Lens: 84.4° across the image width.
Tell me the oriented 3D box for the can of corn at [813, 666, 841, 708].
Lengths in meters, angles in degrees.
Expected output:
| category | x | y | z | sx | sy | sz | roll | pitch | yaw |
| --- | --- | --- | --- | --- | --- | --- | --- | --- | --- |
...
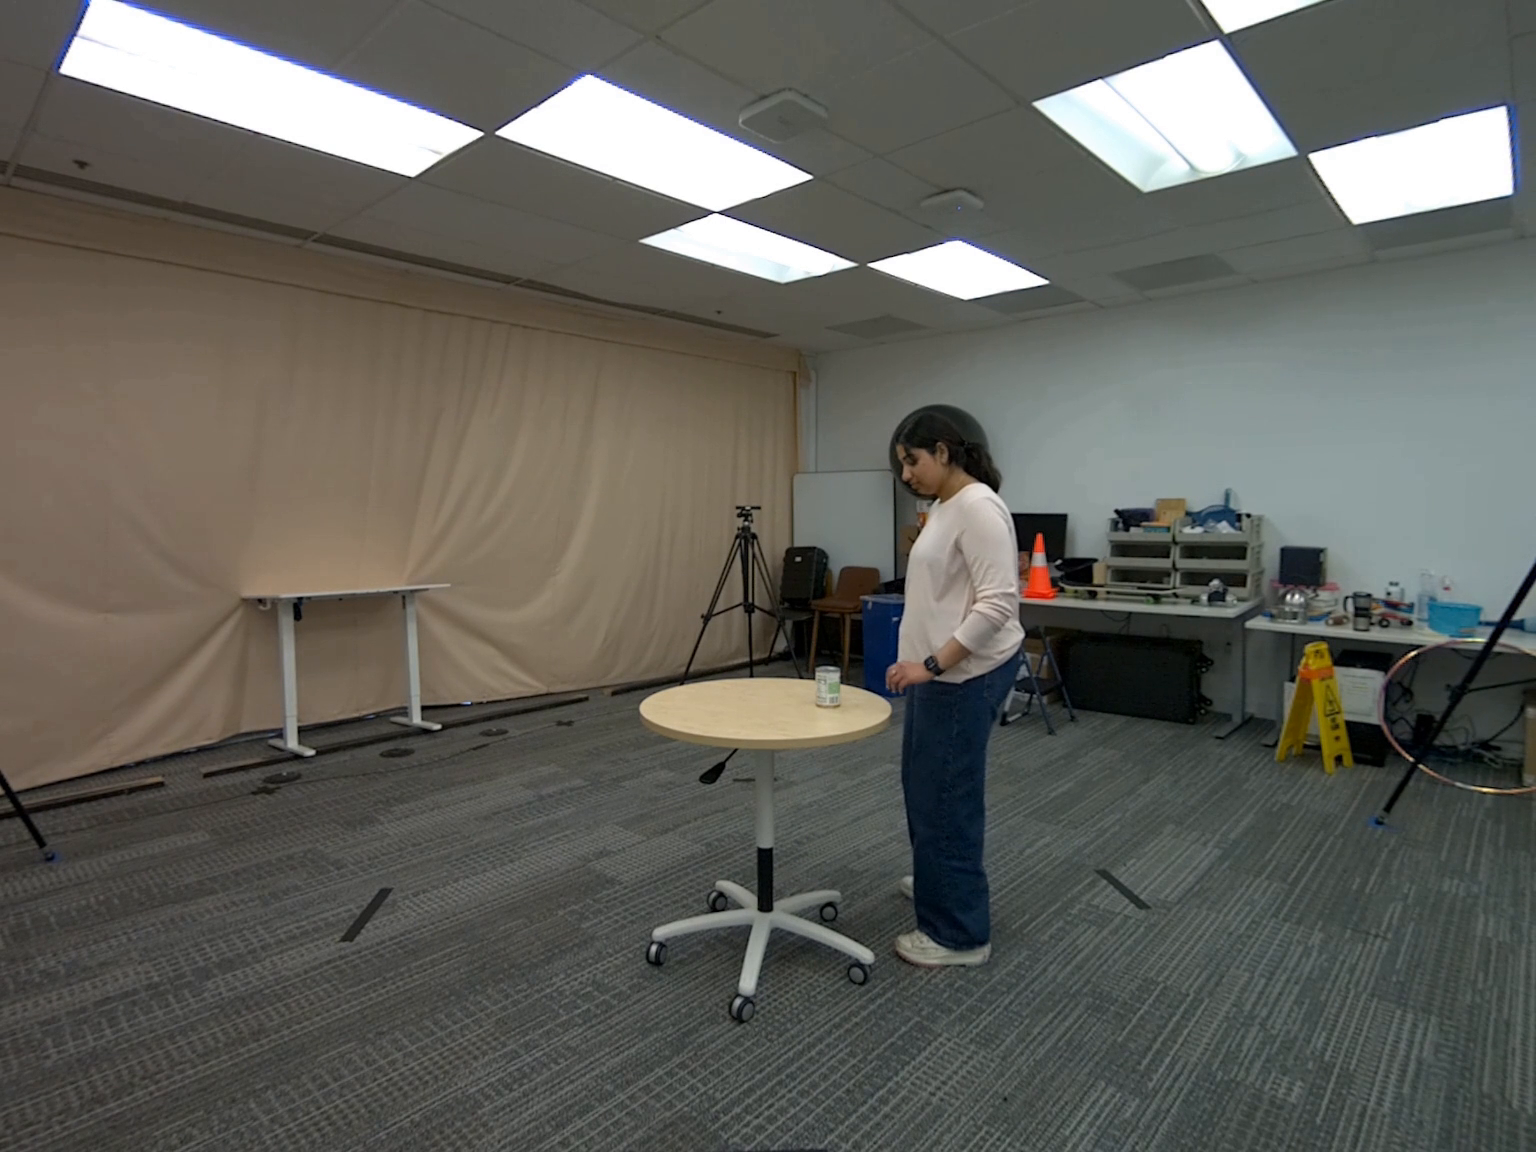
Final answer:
| category | x | y | z | sx | sy | sz | roll | pitch | yaw |
| --- | --- | --- | --- | --- | --- | --- | --- | --- | --- |
| can of corn | 0.190 | 0.340 | 2.555 | 0.074 | 0.111 | 0.074 | 0 | 5 | -2 |
